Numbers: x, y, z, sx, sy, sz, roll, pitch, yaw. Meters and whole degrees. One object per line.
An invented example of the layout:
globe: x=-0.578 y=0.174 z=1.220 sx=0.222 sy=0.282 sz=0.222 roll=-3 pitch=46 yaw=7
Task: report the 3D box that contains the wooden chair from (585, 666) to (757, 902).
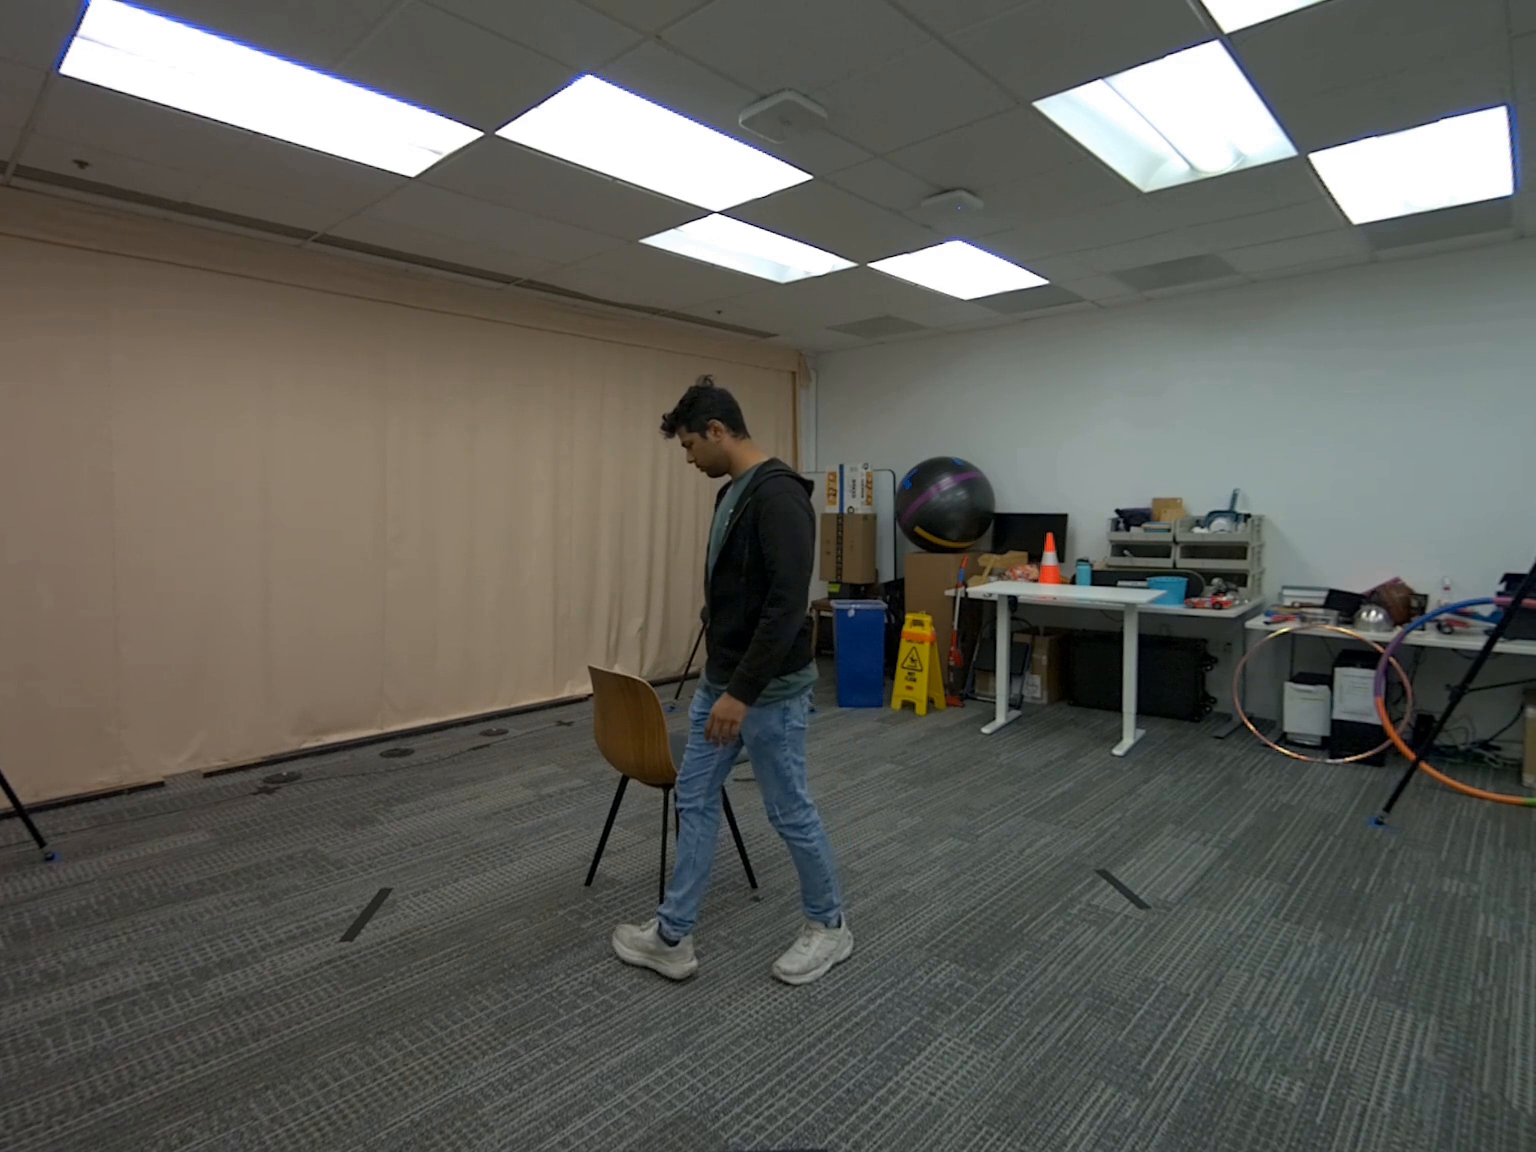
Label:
wooden chair: x=-0.349 y=0.715 z=3.056 sx=0.508 sy=0.874 sz=0.494 roll=-9 pitch=8 yaw=-43
